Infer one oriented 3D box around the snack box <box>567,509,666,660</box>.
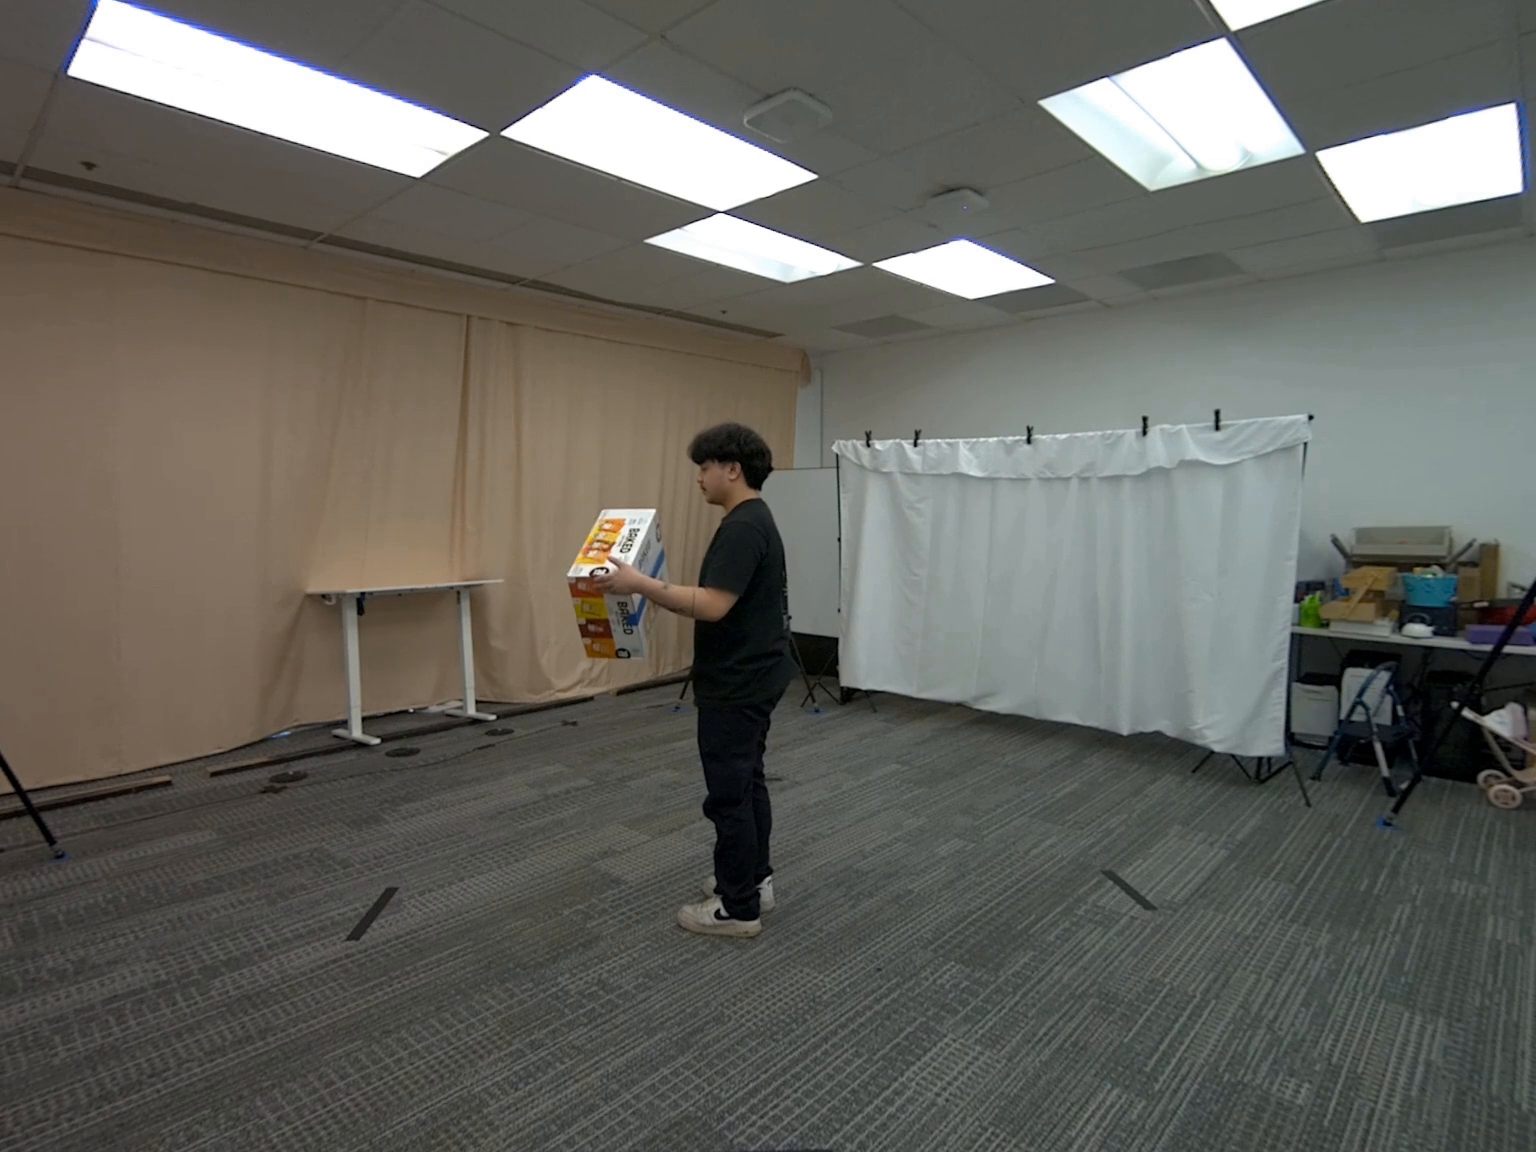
[{"bbox_3d":[-0.498,0.021,2.896,0.208,0.333,0.409,0,35,9],"label":"snack box"}]
